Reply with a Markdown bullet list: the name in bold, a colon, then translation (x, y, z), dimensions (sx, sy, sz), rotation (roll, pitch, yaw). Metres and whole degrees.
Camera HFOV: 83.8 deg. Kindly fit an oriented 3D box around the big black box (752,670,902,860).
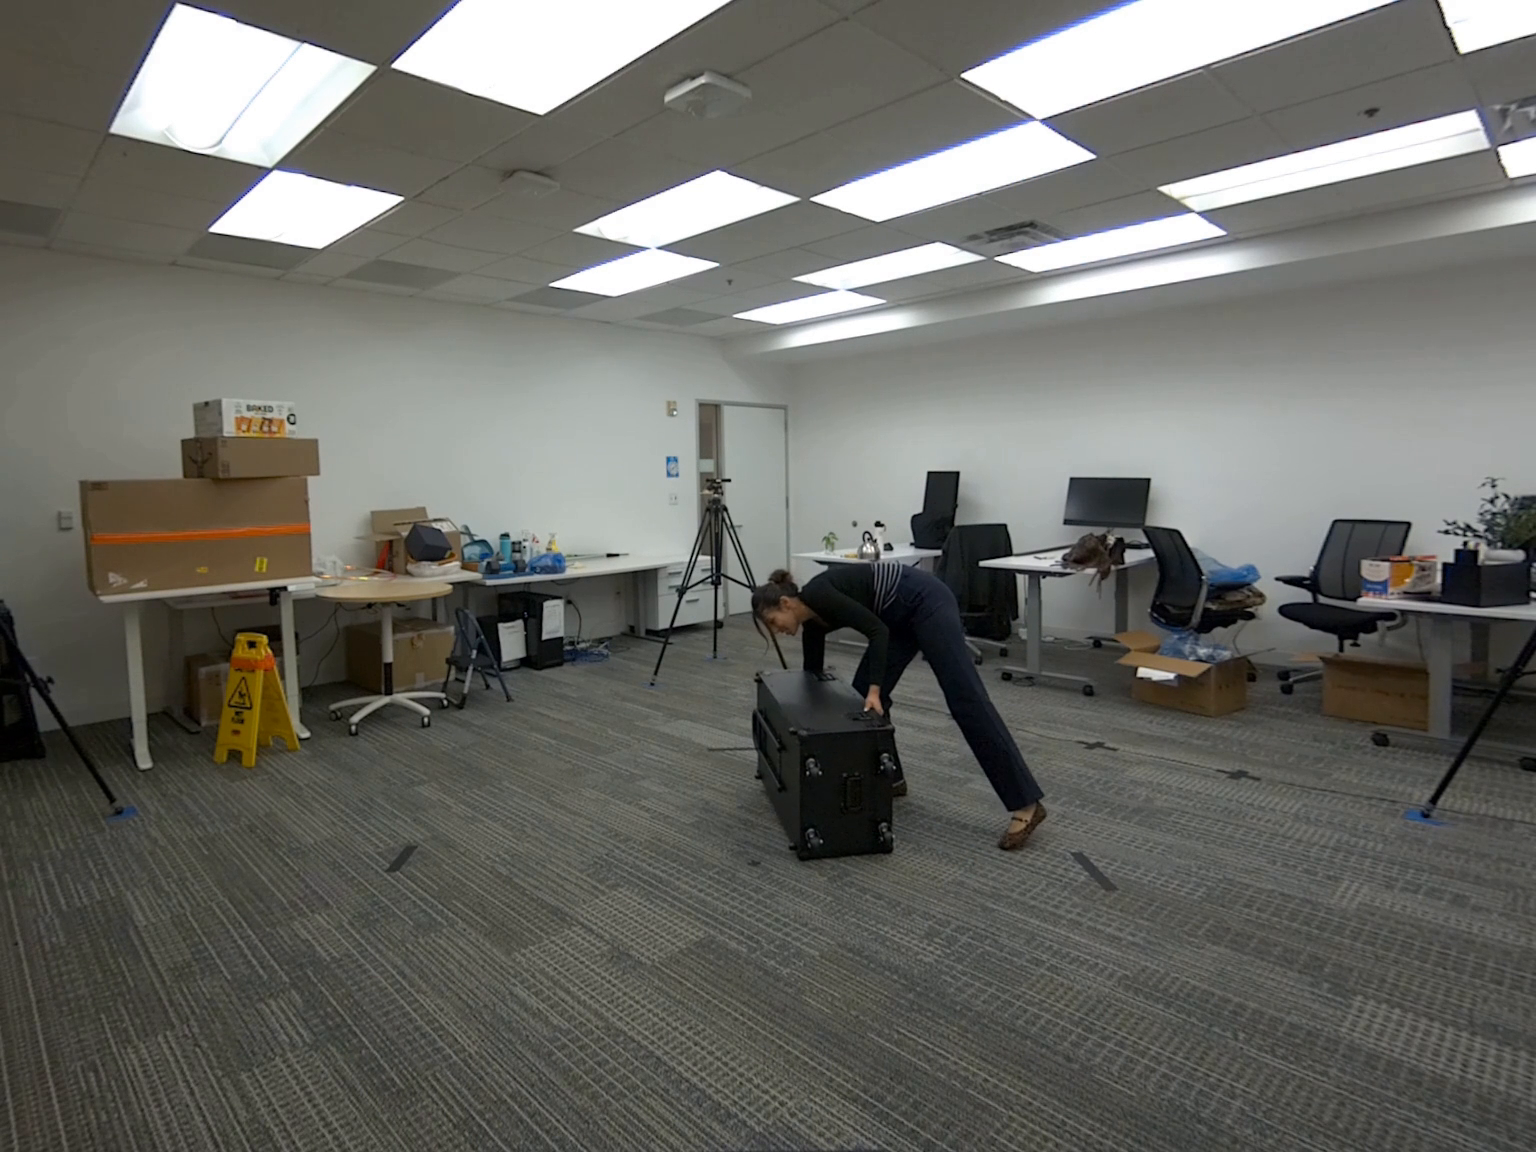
- **big black box**: translation (0.198, 0.721, 3.450), dimensions (0.392, 0.517, 0.877), rotation (-4, 9, -12)
